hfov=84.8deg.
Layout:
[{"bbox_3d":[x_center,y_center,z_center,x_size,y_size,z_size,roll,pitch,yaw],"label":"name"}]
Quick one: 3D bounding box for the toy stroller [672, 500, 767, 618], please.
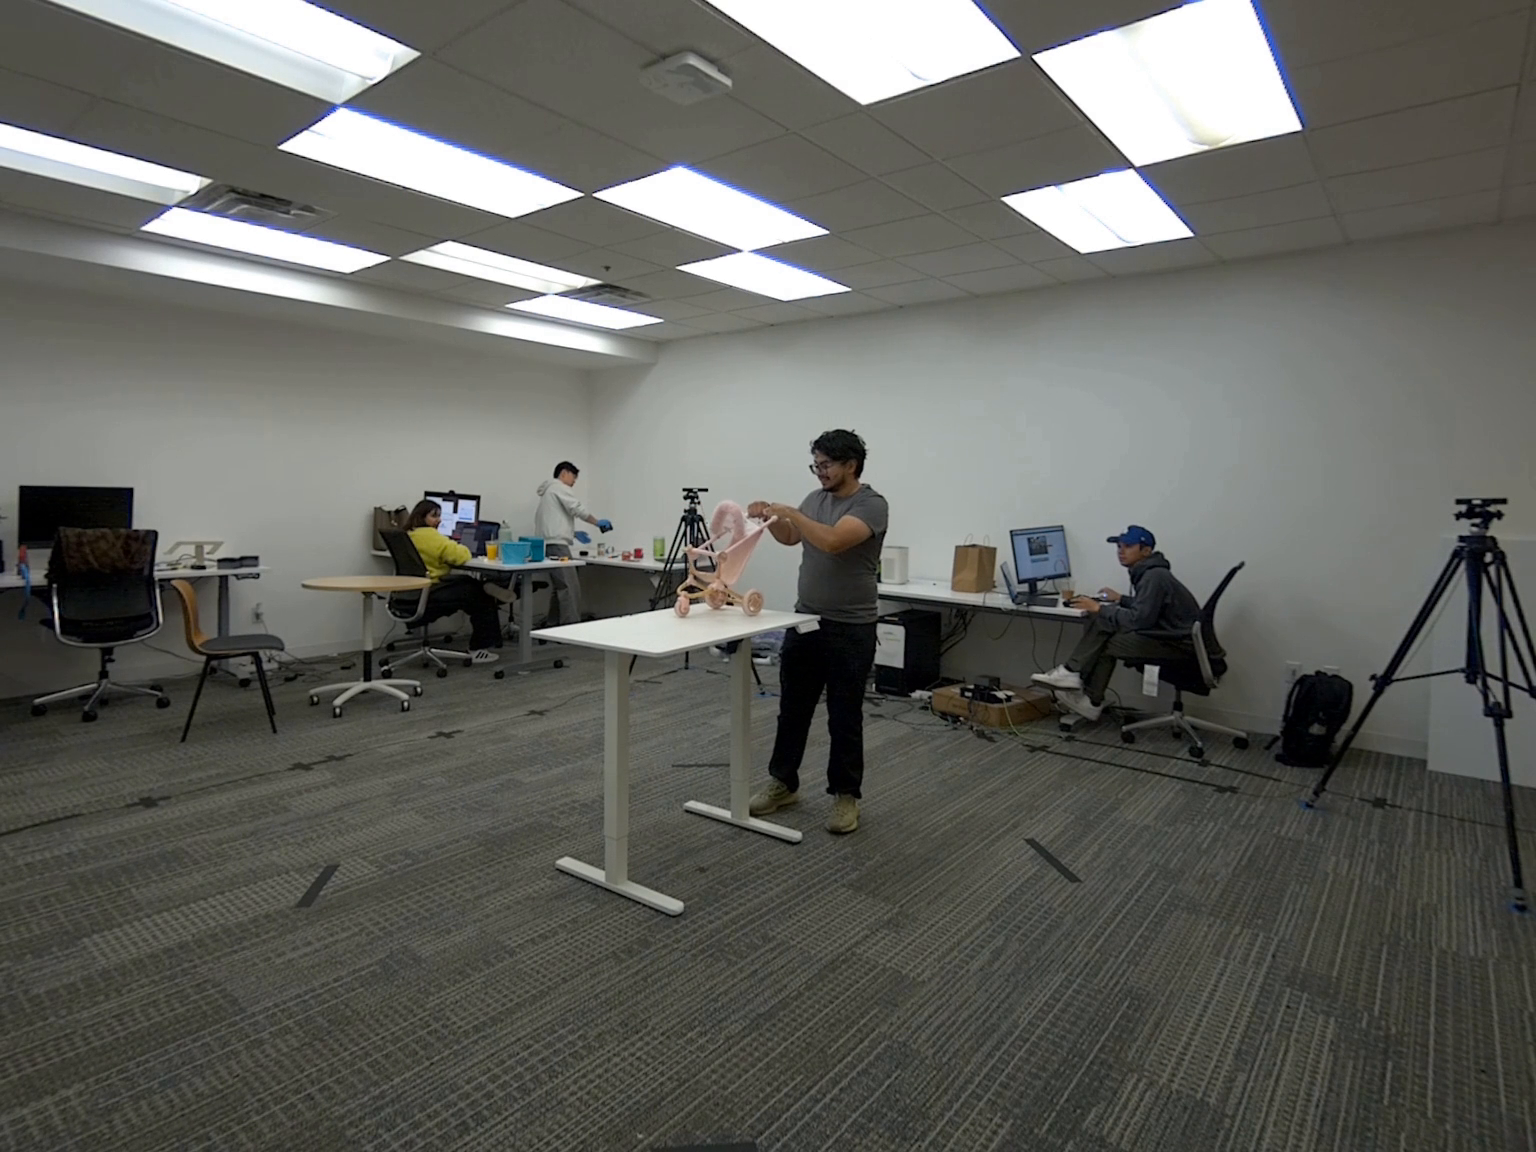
[{"bbox_3d":[-0.200,-0.073,3.452,0.329,0.537,0.290,17,-5,-33],"label":"toy stroller"}]
